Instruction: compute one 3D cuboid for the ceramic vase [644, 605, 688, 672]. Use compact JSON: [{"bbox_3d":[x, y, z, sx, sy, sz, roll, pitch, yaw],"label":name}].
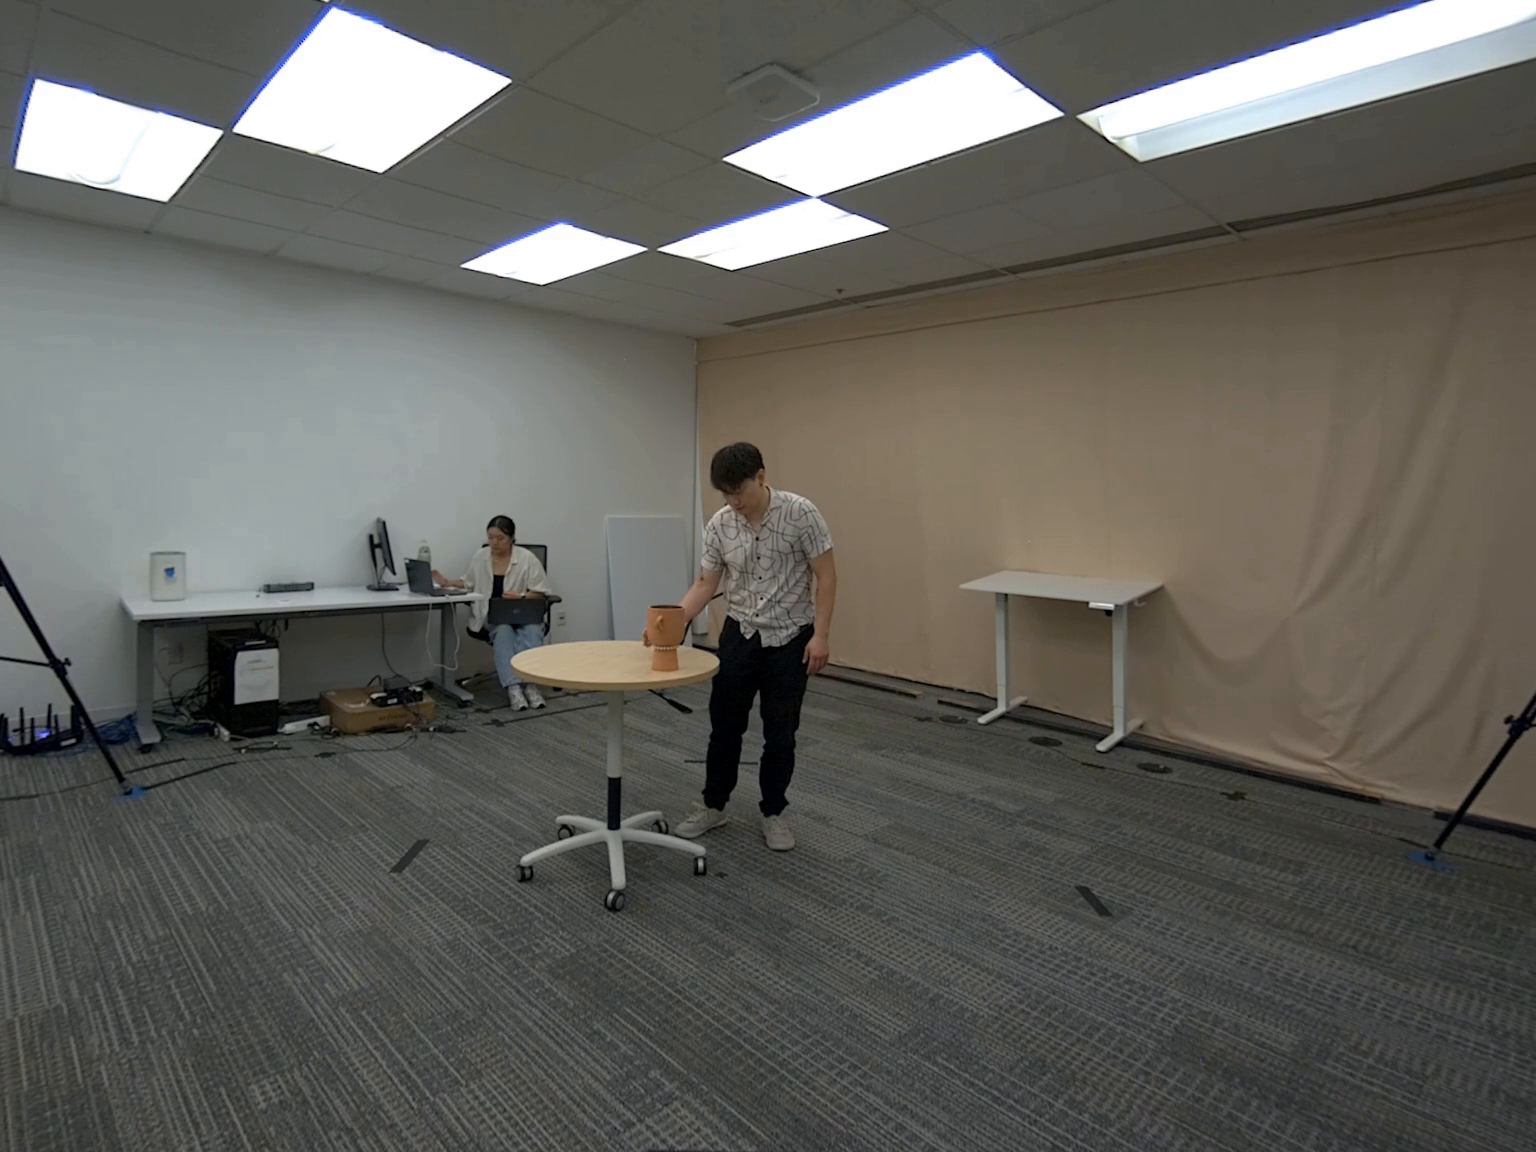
[{"bbox_3d":[-0.373,0.221,2.975,0.155,0.219,0.138,-1,6,-38],"label":"ceramic vase"}]
